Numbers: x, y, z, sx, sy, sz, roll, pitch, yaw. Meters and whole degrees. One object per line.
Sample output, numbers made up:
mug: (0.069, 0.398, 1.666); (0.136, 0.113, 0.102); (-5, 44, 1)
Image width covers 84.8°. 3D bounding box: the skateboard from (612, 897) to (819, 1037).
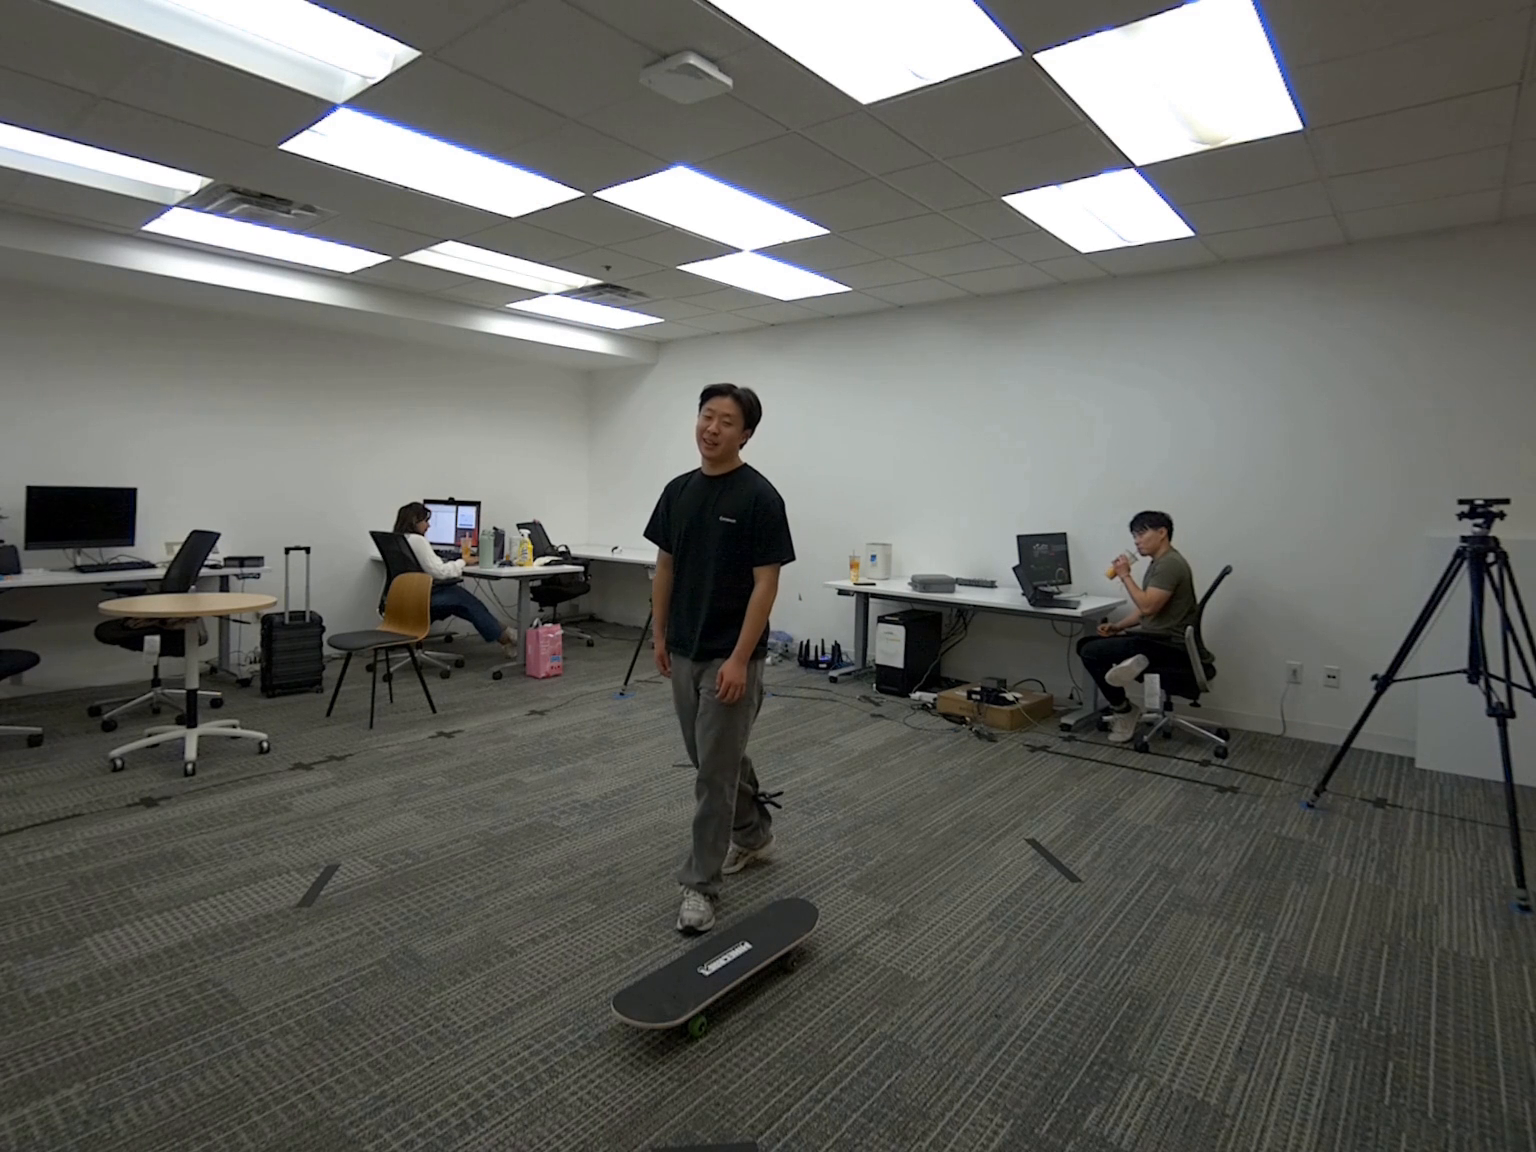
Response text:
skateboard: (-0.123, 1.089, 2.365); (0.200, 0.110, 0.763); (5, 8, 39)
